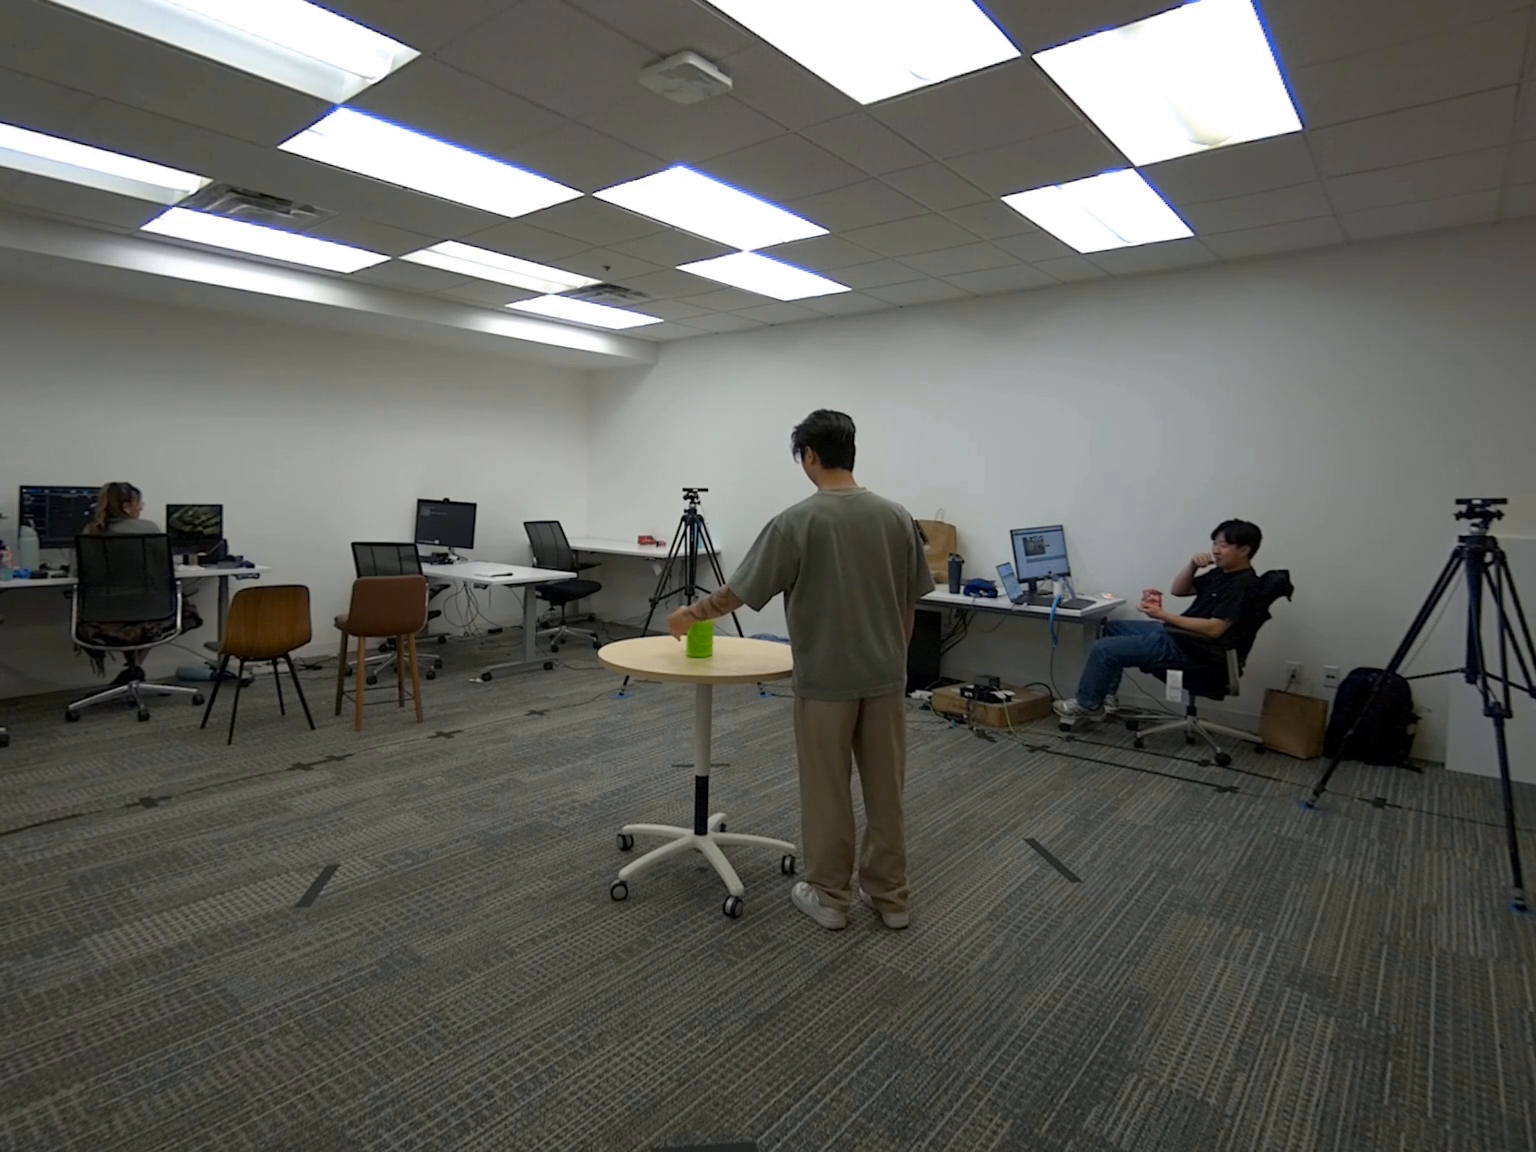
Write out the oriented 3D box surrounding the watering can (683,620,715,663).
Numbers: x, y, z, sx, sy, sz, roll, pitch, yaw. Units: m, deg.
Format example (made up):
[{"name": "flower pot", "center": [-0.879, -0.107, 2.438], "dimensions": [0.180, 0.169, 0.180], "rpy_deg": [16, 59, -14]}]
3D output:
[{"name": "watering can", "center": [-0.235, 0.192, 3.062], "dimensions": [0.100, 0.176, 0.272], "rpy_deg": [2, 6, 26]}]
